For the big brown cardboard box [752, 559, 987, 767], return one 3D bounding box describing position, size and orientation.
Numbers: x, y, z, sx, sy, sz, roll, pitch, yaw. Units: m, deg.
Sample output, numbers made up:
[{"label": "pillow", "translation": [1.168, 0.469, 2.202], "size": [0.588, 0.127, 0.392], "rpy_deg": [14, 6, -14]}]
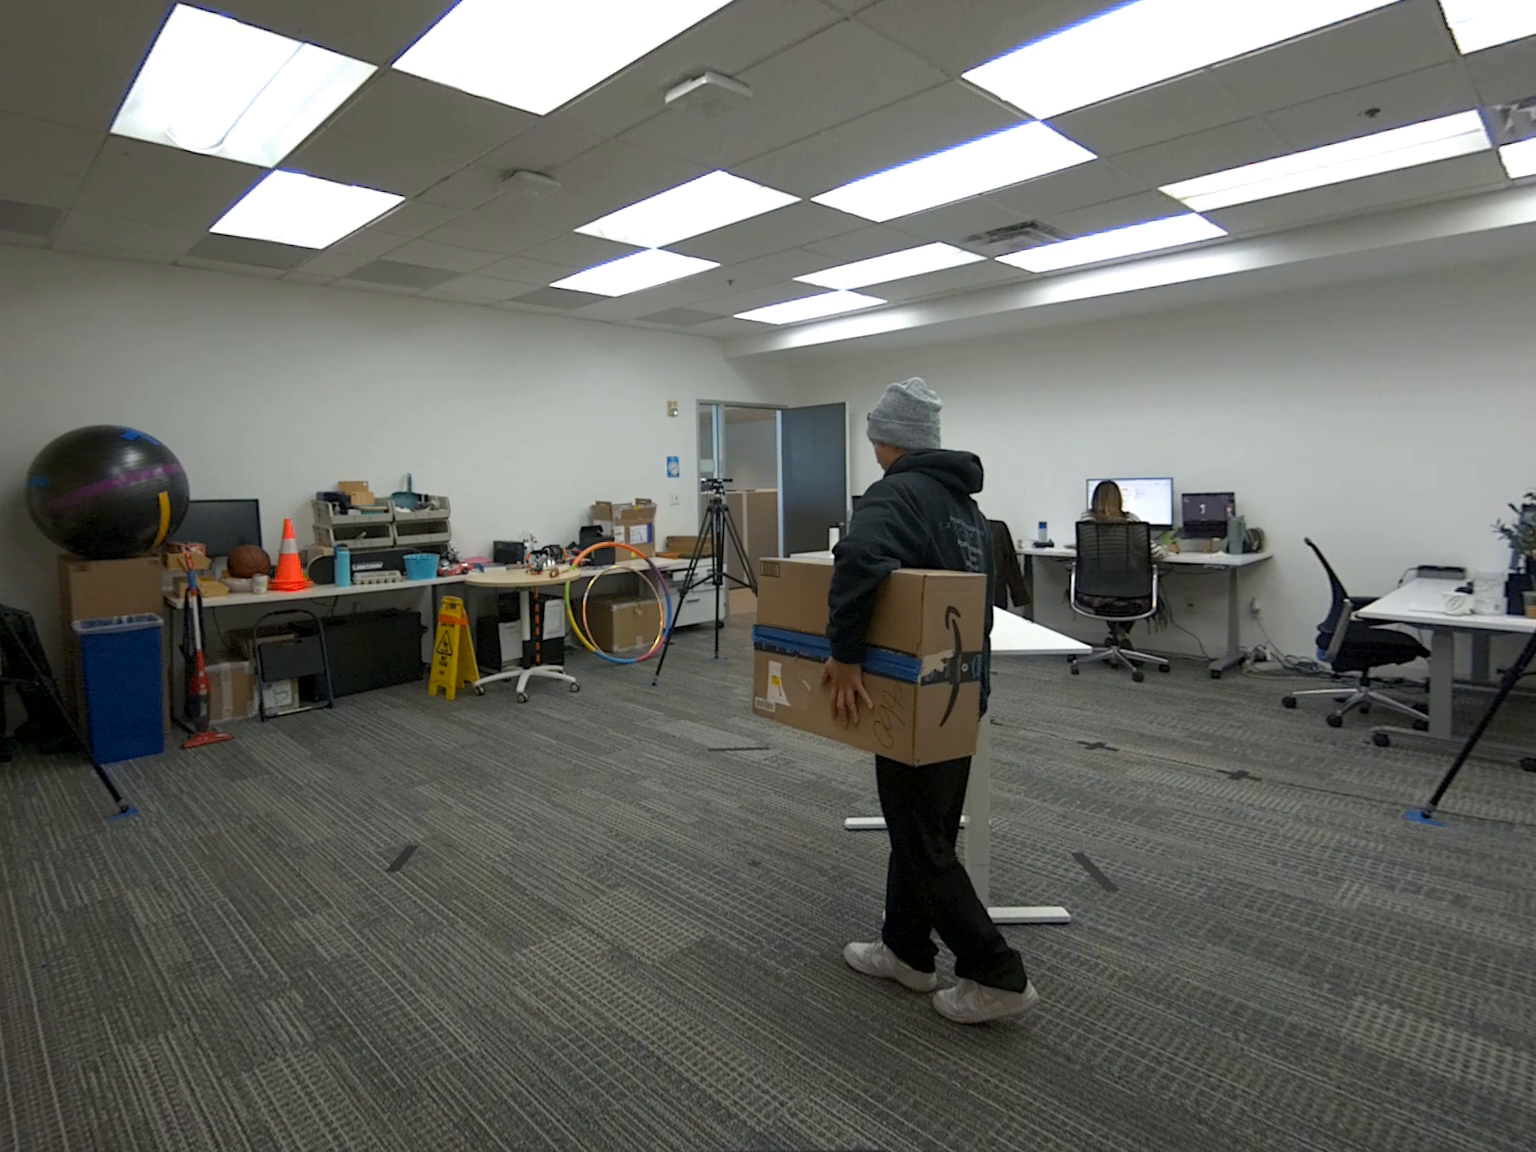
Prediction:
[{"label": "big brown cardboard box", "translation": [0.212, 0.185, 2.109], "size": [0.227, 0.417, 0.606], "rpy_deg": [1, 3, -36]}]
